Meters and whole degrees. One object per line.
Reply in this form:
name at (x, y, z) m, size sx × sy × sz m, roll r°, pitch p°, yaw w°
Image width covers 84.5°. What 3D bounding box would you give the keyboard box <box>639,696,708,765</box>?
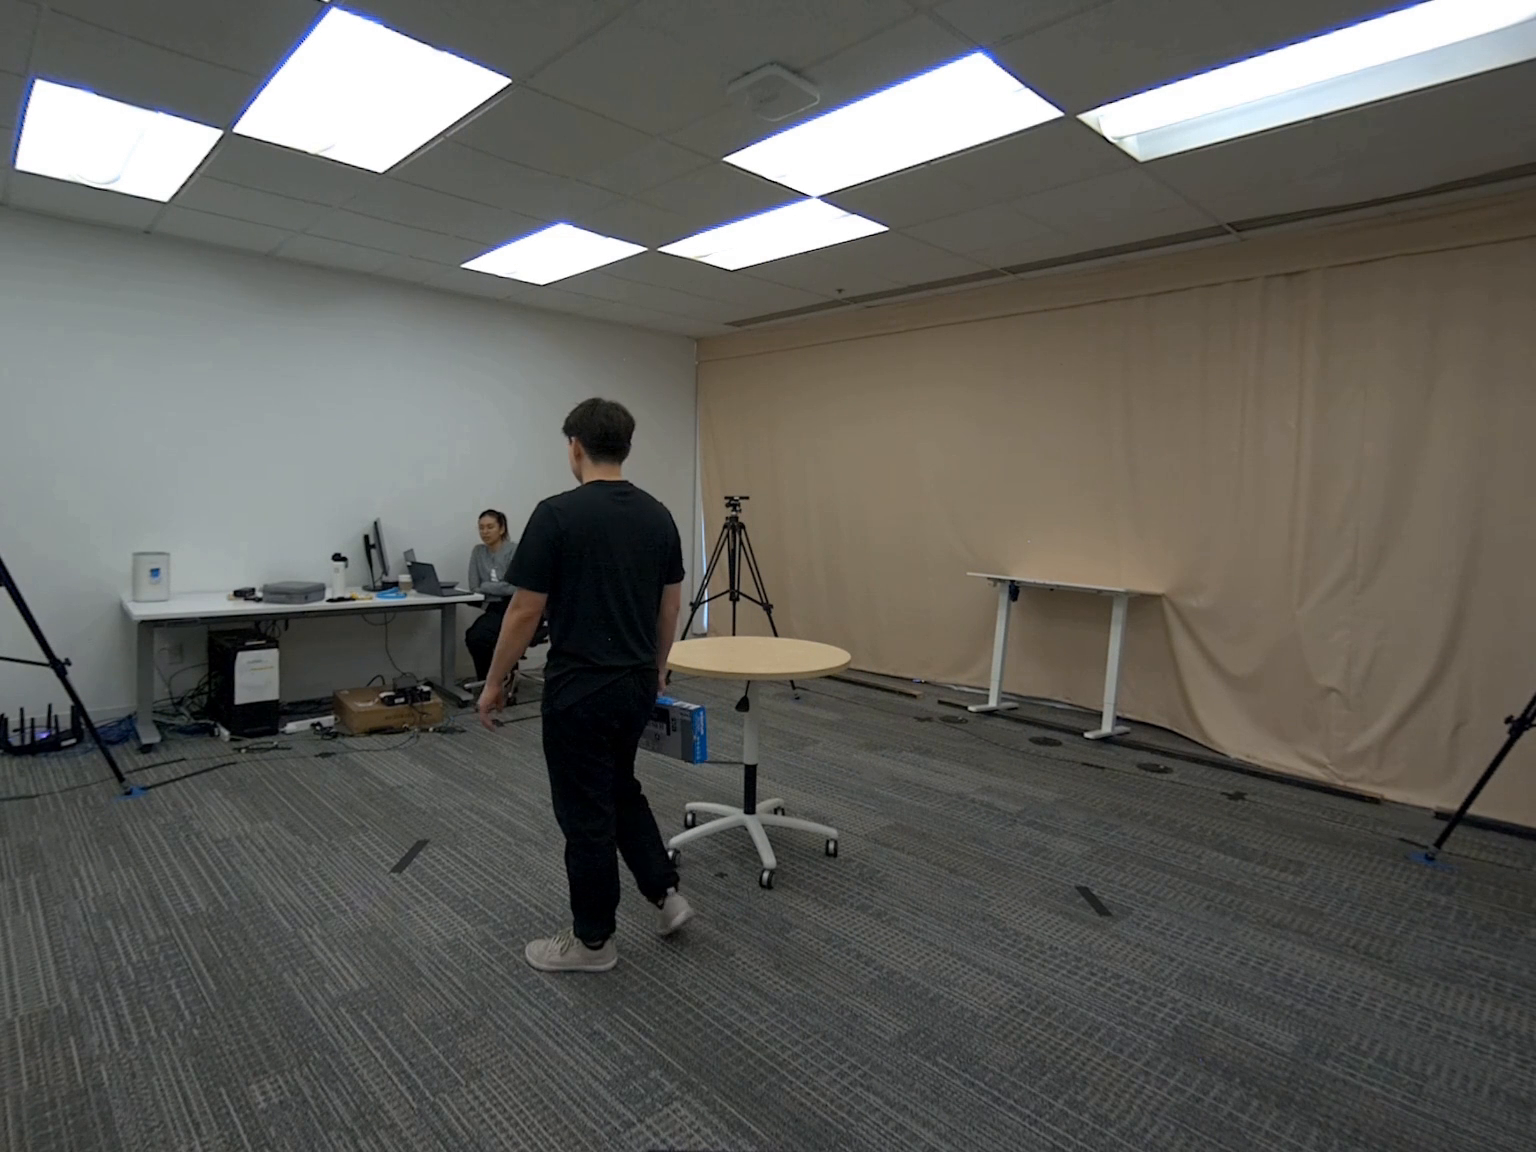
keyboard box at (-0.380, 0.481, 2.735) m, size 0.448 × 0.175 × 0.058 m, roll 4°, pitch 7°, yaw 40°
